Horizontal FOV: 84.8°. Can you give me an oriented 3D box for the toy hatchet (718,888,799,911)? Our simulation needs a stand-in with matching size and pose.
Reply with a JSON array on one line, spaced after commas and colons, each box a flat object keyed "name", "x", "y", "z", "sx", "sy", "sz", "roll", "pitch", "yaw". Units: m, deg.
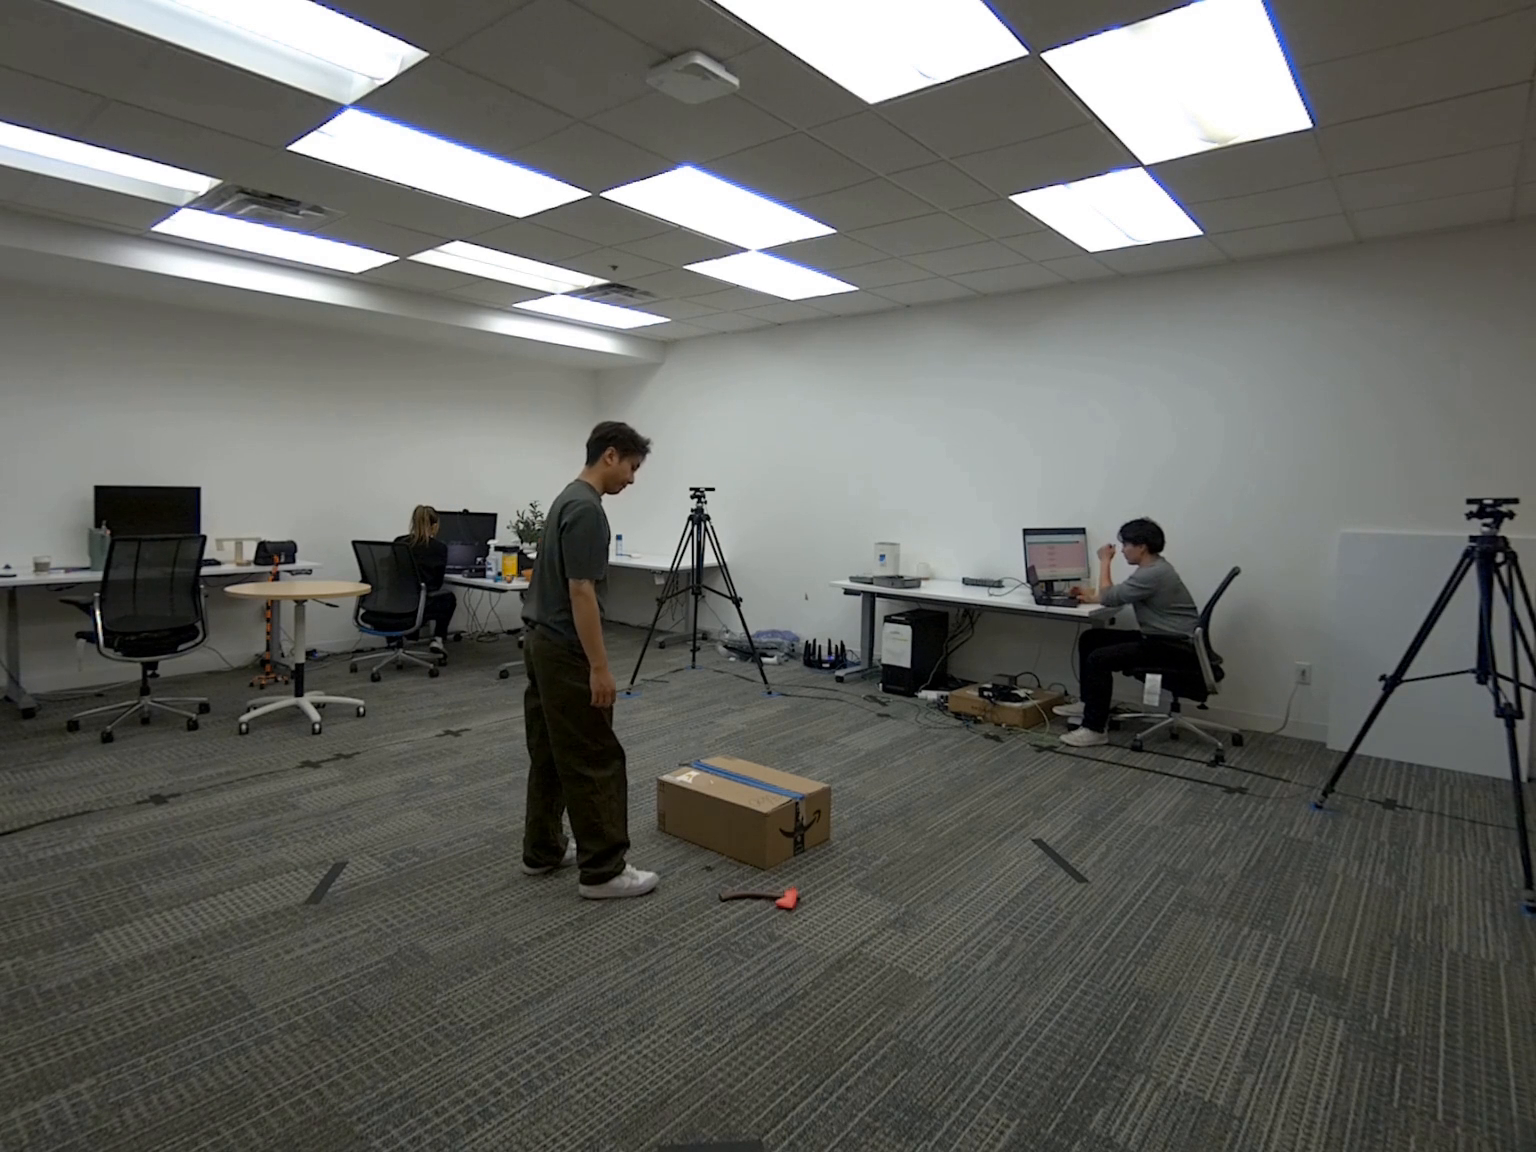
[{"name": "toy hatchet", "x": -0.034, "y": 1.094, "z": 2.847, "sx": 0.267, "sy": 0.029, "sz": 0.134, "roll": -2, "pitch": 10, "yaw": -11}]
